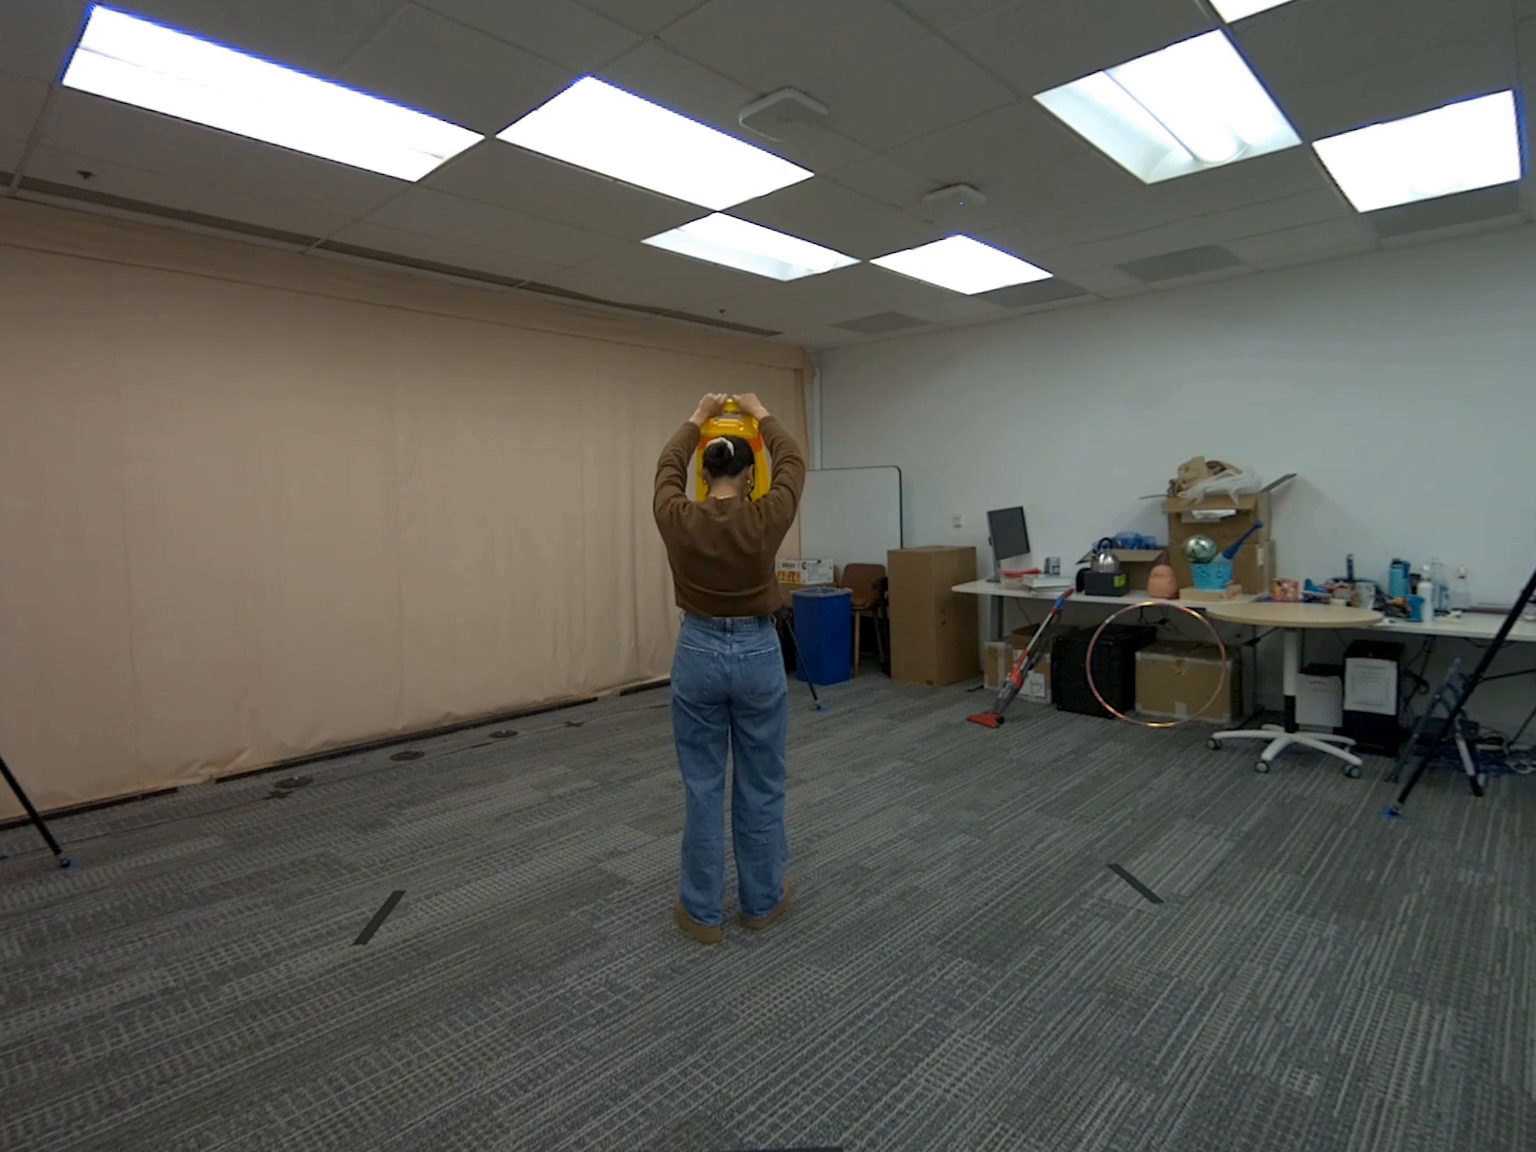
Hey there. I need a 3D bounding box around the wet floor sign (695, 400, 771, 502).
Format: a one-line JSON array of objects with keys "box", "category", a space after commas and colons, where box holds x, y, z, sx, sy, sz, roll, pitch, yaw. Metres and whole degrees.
[{"box": [-0.126, -0.360, 3.166, 0.285, 0.635, 0.291, 7, 35, 8], "category": "wet floor sign"}]
